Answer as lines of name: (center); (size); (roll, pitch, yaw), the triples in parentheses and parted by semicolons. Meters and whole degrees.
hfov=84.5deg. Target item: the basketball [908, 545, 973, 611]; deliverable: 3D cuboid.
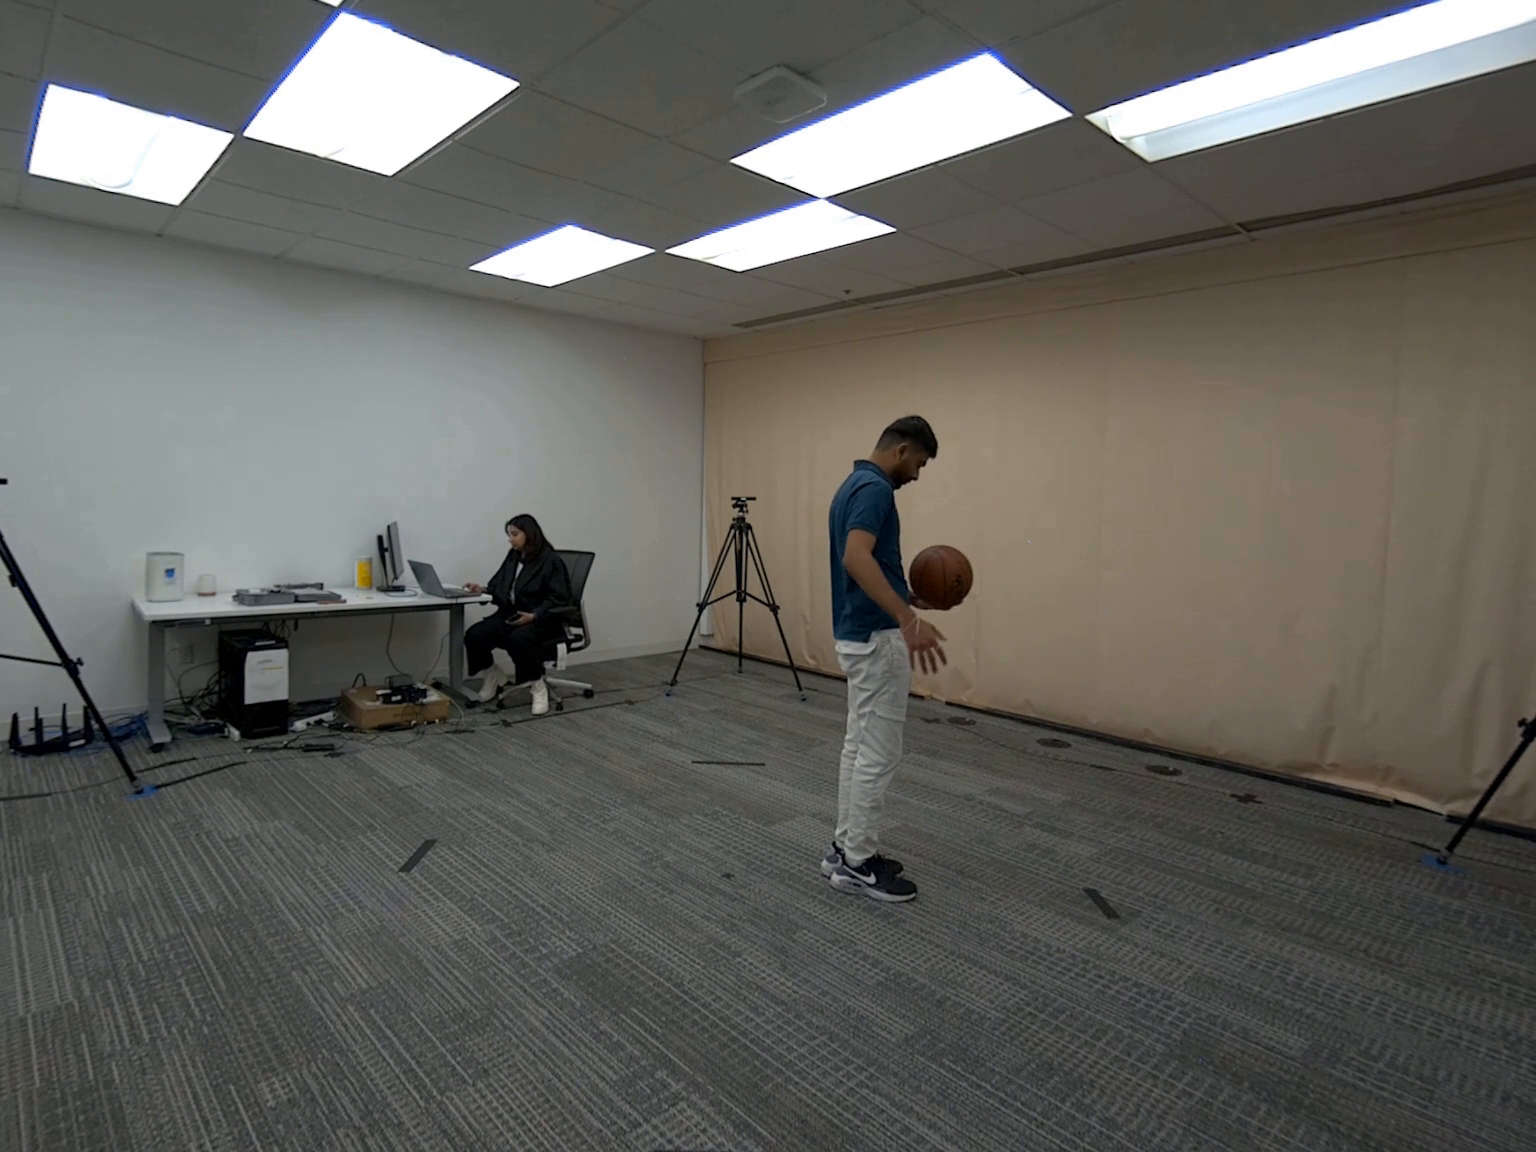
basketball: (0.632, -0.002, 3.200); (0.236, 0.235, 0.237); (1, 4, -1)
